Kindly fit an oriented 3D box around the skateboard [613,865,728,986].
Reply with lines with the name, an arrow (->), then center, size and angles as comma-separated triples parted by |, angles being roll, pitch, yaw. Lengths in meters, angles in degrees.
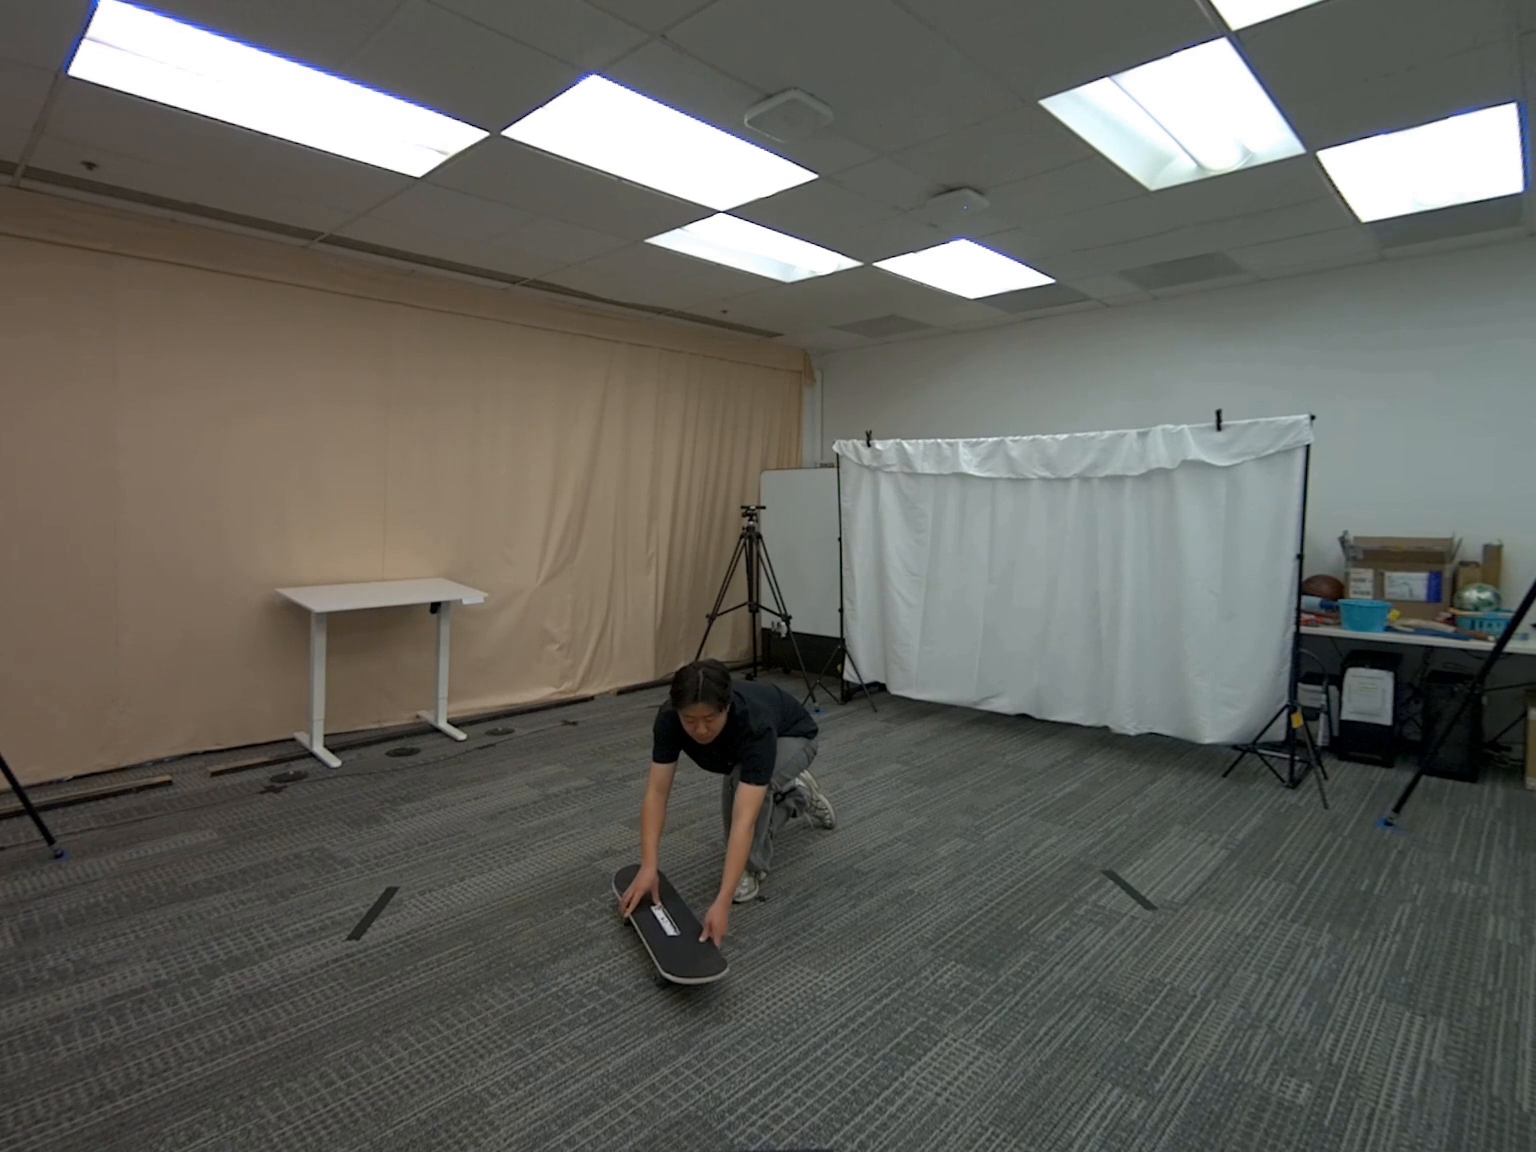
skateboard -> -0.330, 1.120, 2.650 | 0.189, 0.110, 0.805 | -2, 5, -24
